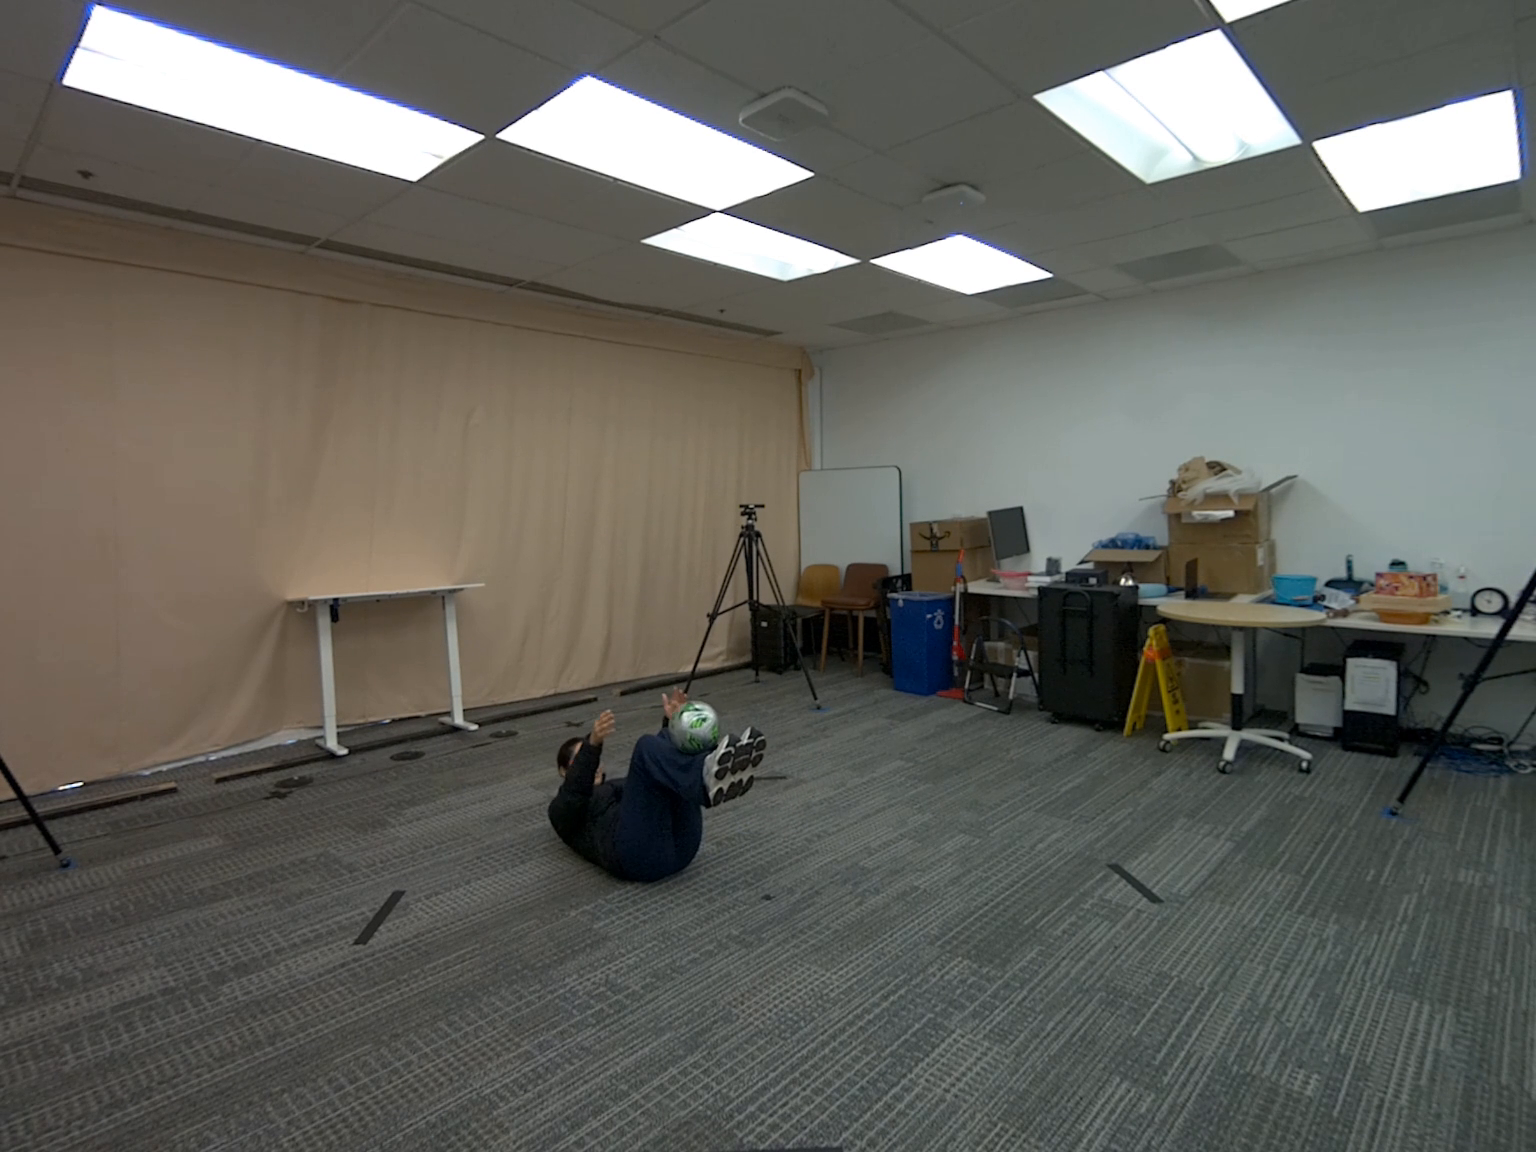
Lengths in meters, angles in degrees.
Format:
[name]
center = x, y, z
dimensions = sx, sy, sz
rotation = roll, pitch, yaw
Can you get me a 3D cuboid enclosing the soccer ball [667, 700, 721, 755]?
[soccer ball]
center = -0.257, 0.537, 2.969
dimensions = 0.187, 0.187, 0.188
rotation = 2, 5, -2
